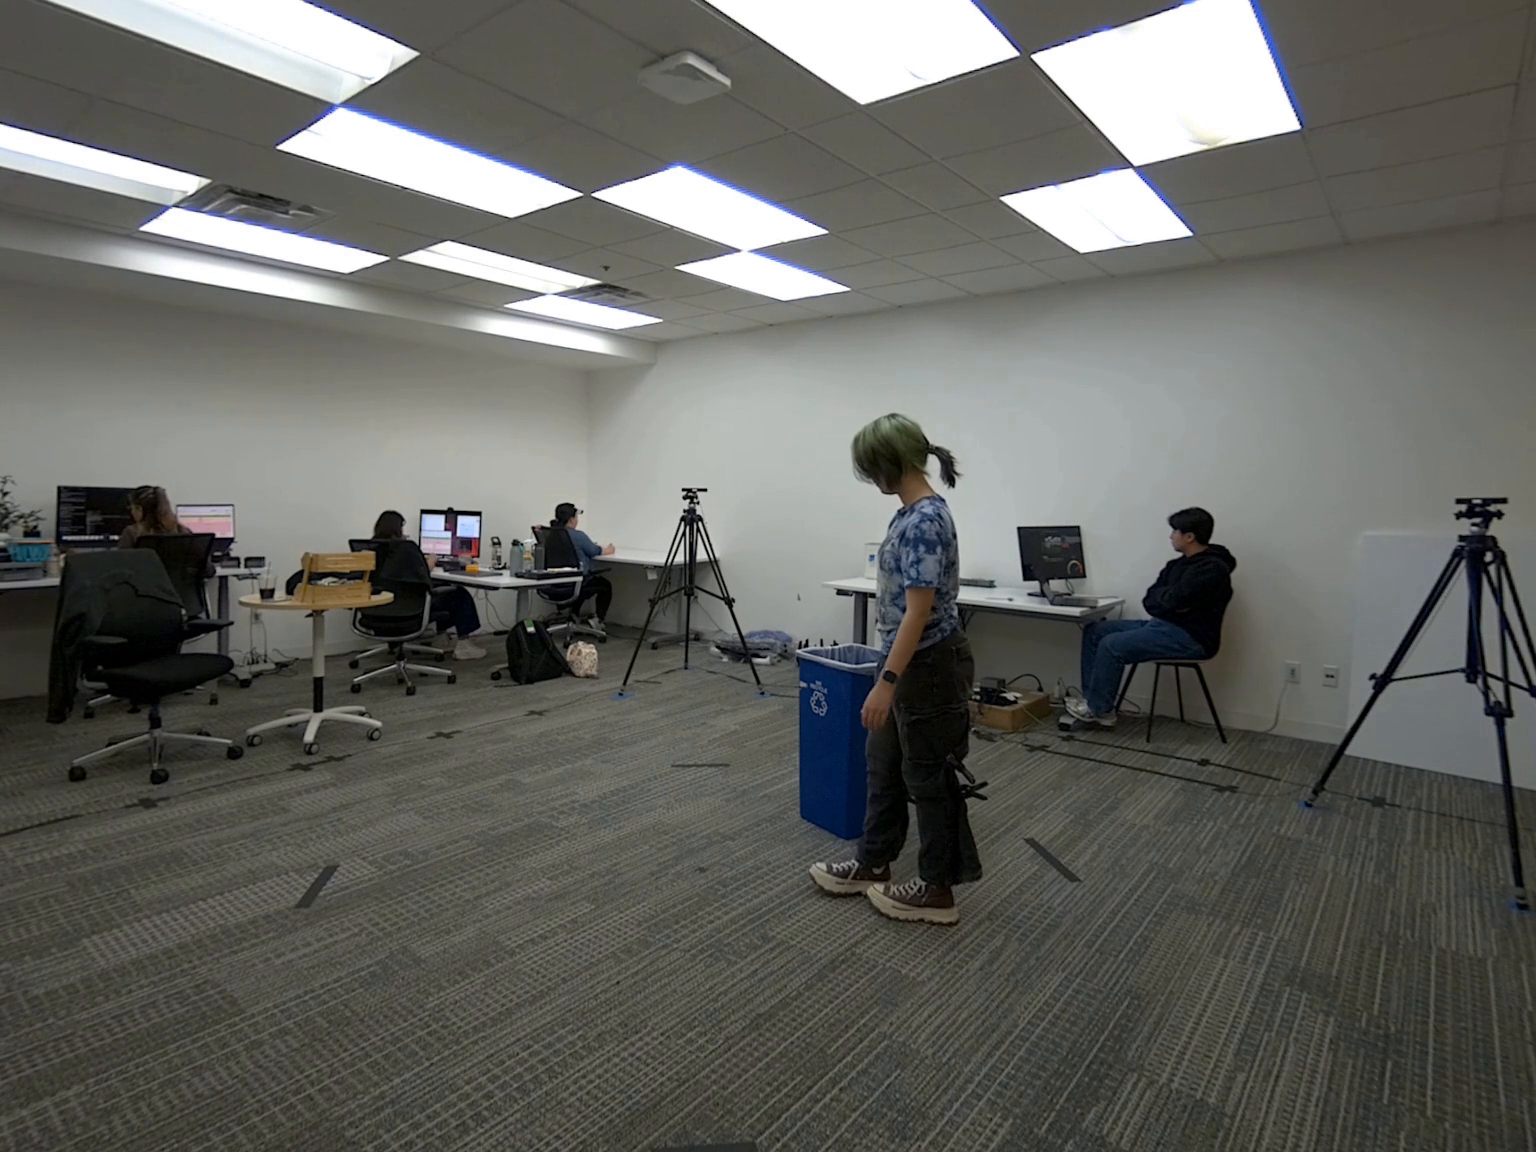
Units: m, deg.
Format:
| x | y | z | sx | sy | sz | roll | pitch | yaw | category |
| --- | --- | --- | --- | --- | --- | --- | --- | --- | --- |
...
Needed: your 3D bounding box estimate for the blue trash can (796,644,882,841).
| x | y | z | sx | sy | sz | roll | pitch | yaw | category |
| --- | --- | --- | --- | --- | --- | --- | --- | --- | --- |
| 0.351 | 0.678 | 3.574 | 0.367 | 0.711 | 0.386 | -2 | 4 | -37 | blue trash can |
